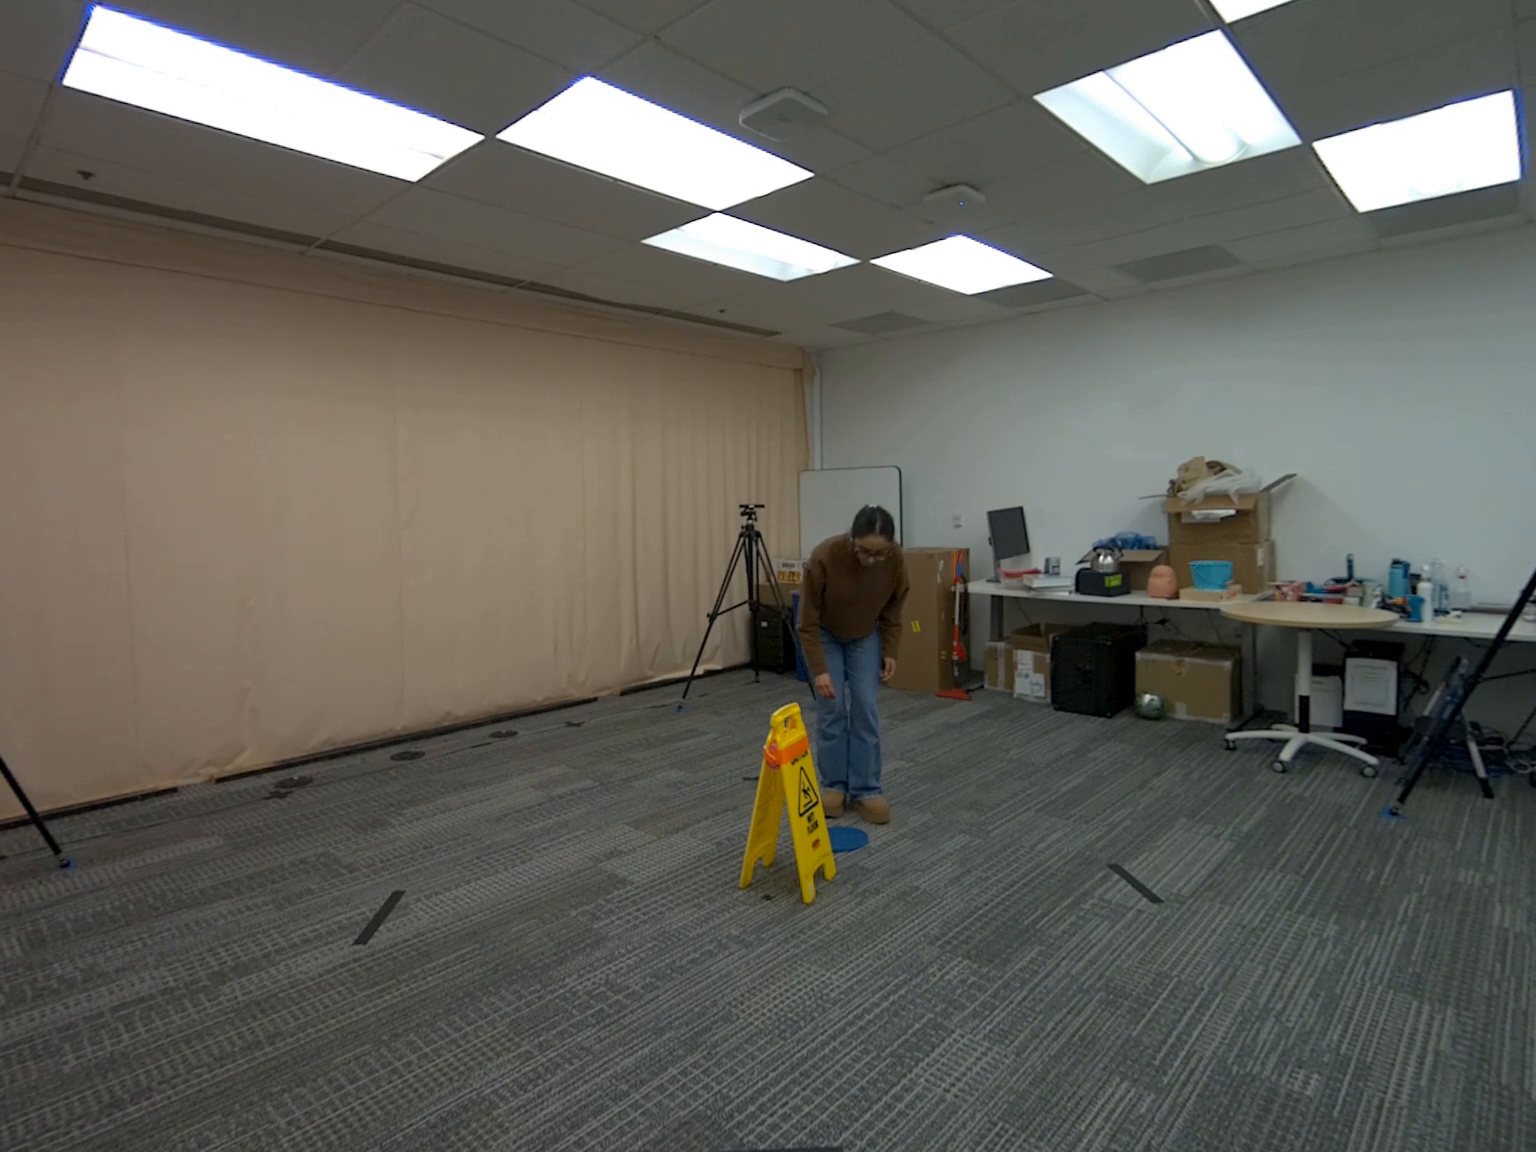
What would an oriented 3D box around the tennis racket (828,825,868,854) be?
[{"bbox_3d":[0.255,1.081,3.404,0.220,0.032,0.421,3,5,32],"label":"tennis racket"}]
